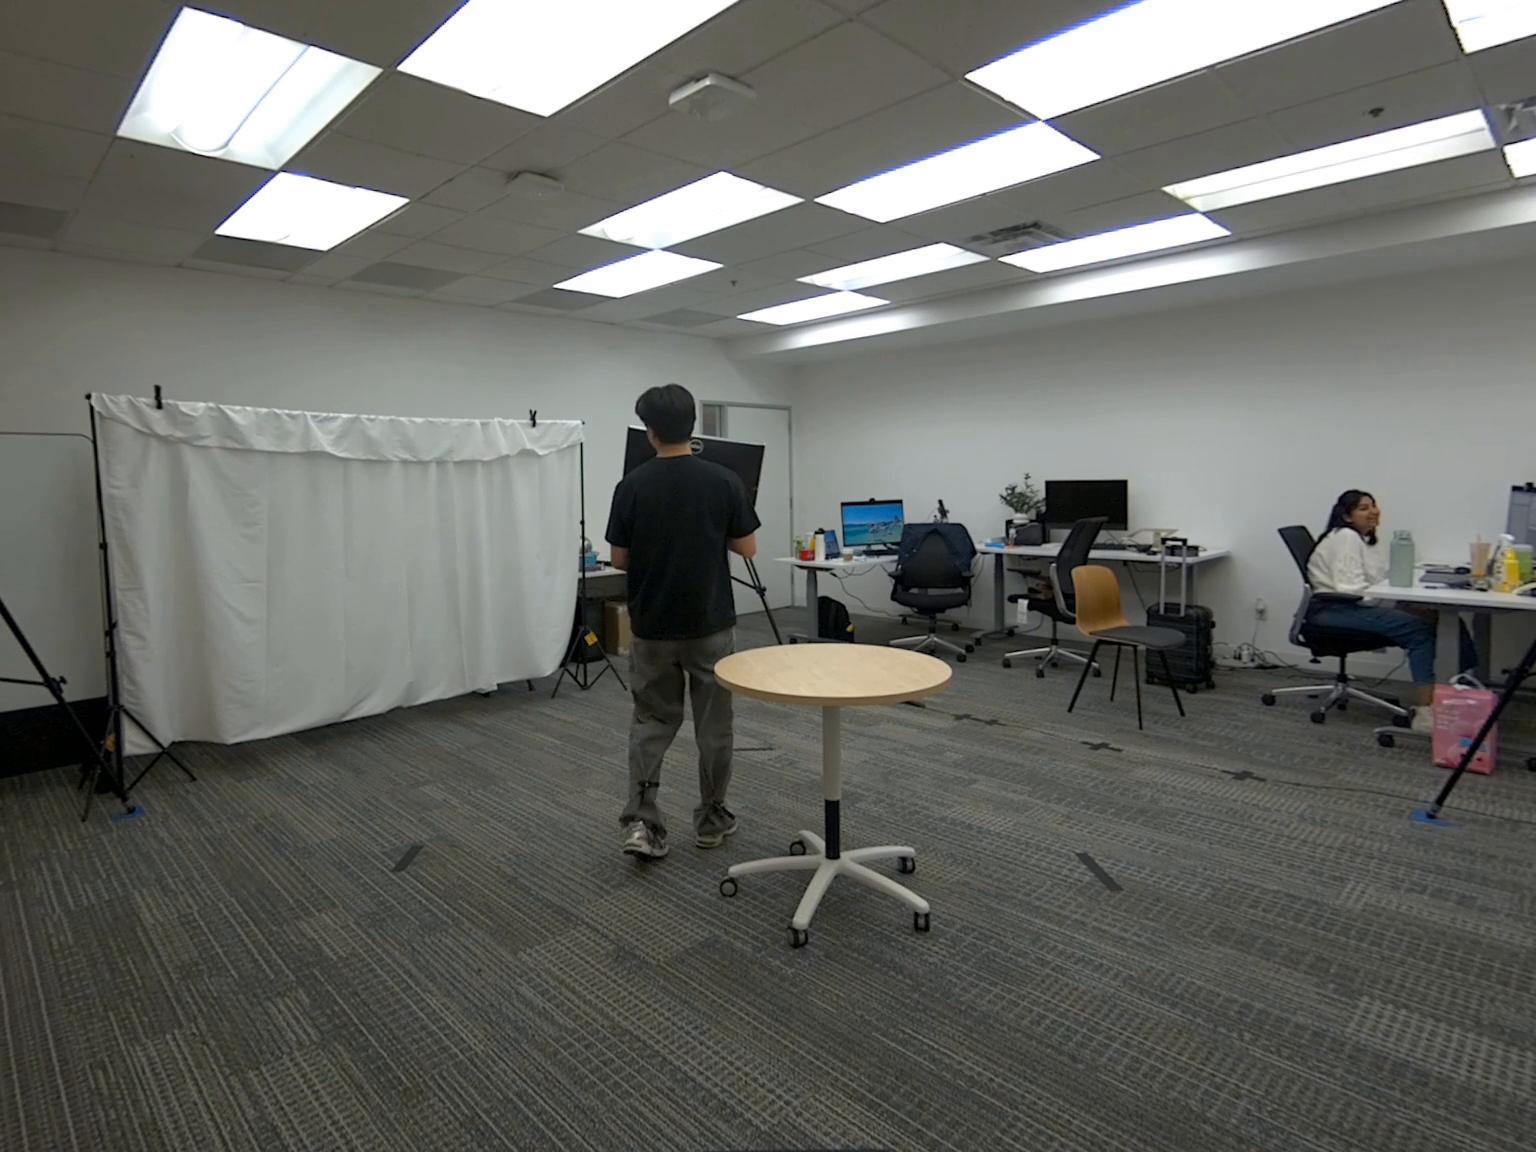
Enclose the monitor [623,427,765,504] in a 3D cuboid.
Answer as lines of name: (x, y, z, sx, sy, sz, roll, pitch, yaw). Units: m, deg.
monitor: (-0.330, -0.293, 3.468, 0.561, 0.564, 0.223, 8, 4, -1)
